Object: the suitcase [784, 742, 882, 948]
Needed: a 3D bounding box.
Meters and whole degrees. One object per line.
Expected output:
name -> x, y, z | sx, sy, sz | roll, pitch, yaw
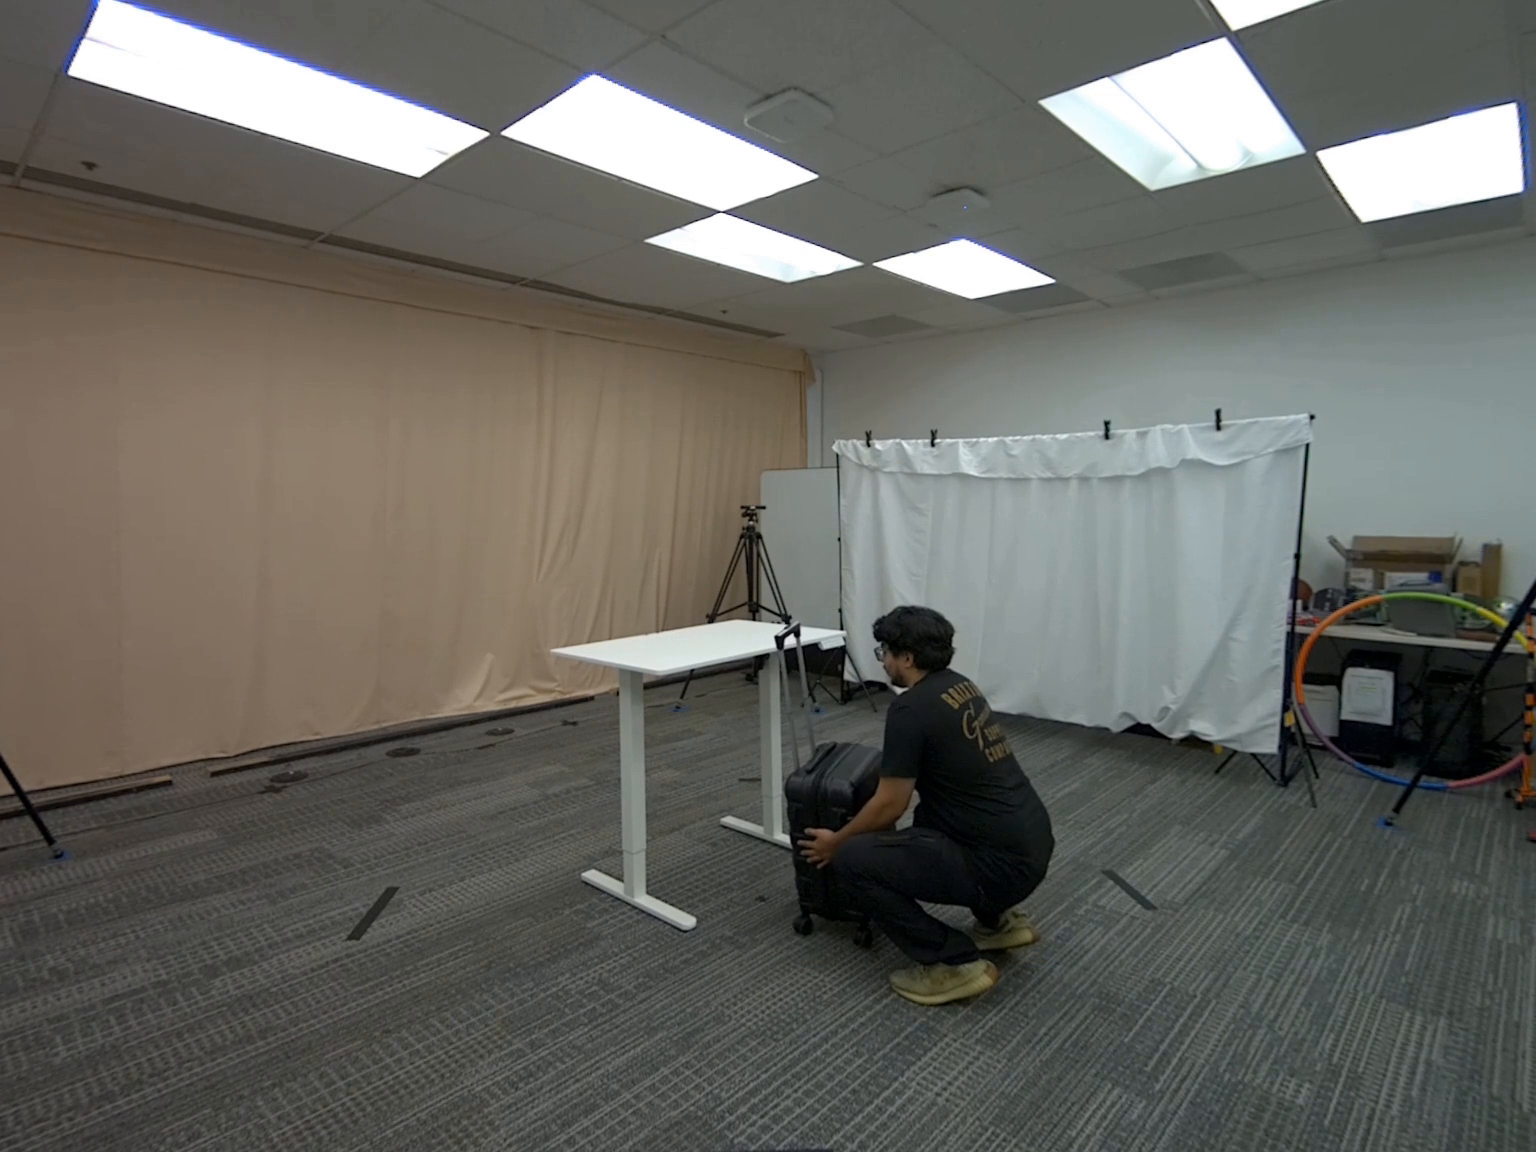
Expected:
suitcase -> 0.230, 0.658, 2.751 | 0.264, 0.971, 0.376 | -2, 11, 30
